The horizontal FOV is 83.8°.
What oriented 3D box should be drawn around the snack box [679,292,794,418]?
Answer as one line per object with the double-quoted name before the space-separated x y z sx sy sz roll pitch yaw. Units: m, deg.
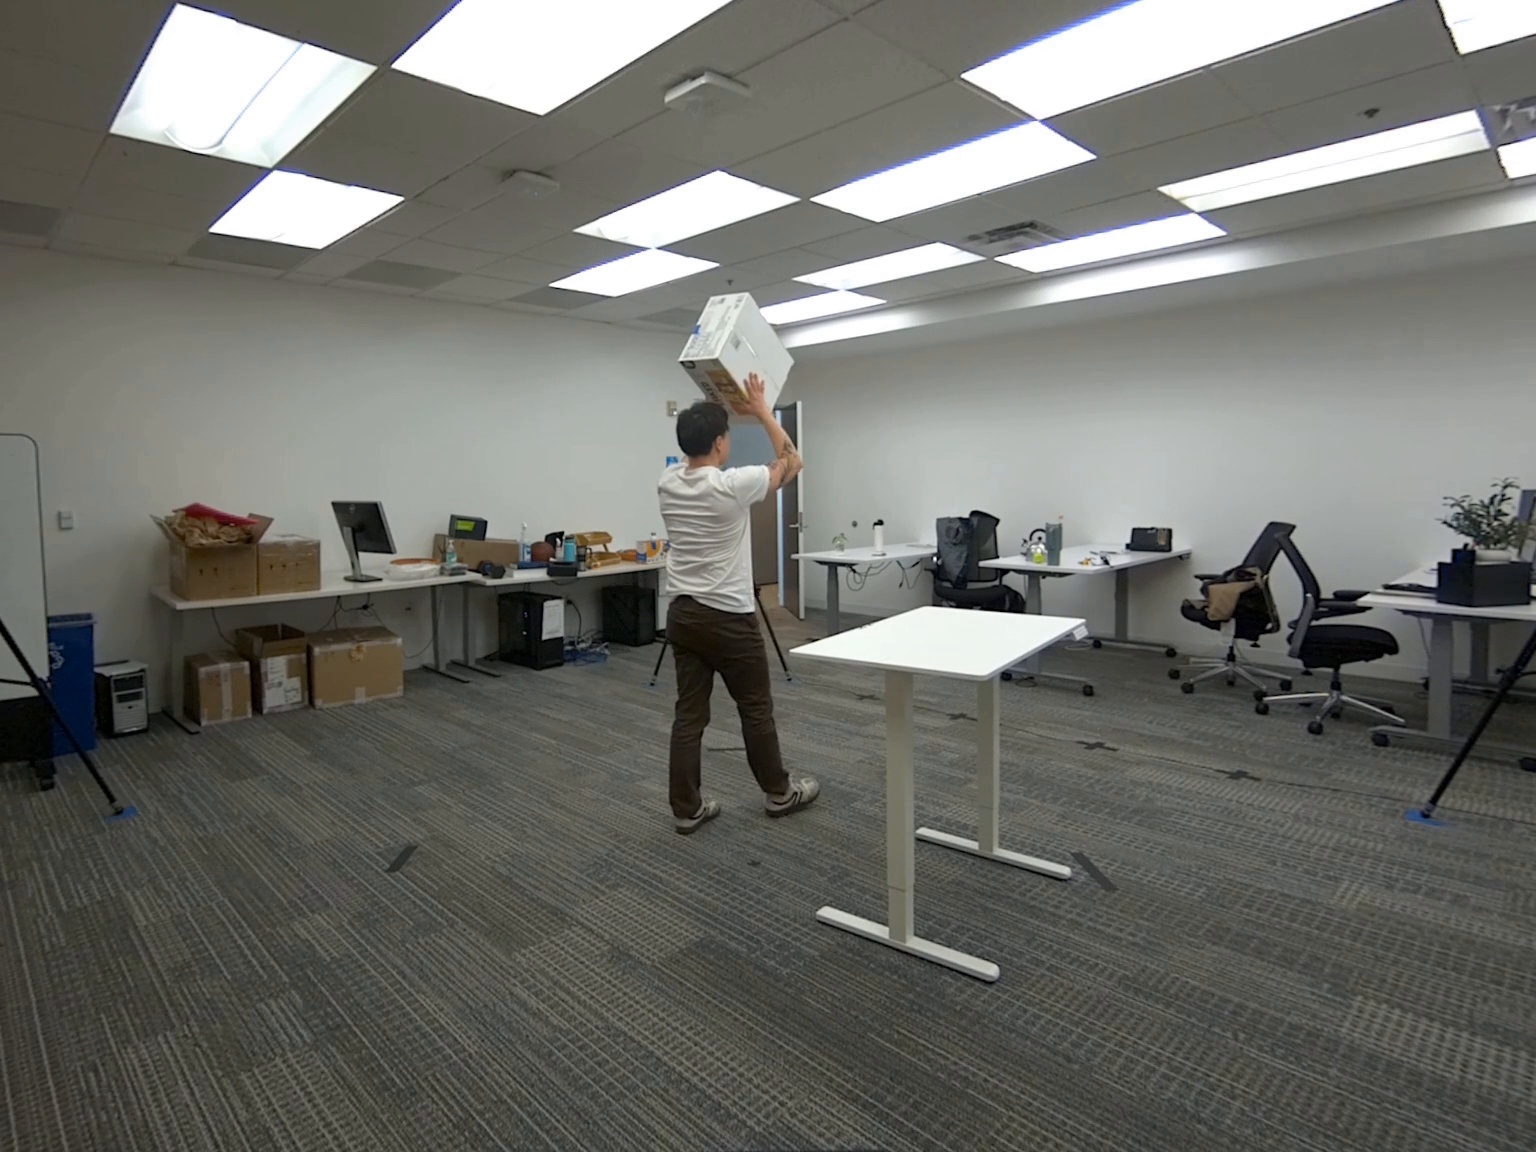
"snack box" -0.119 -0.878 3.488 0.212 0.343 0.389 6 -27 36
